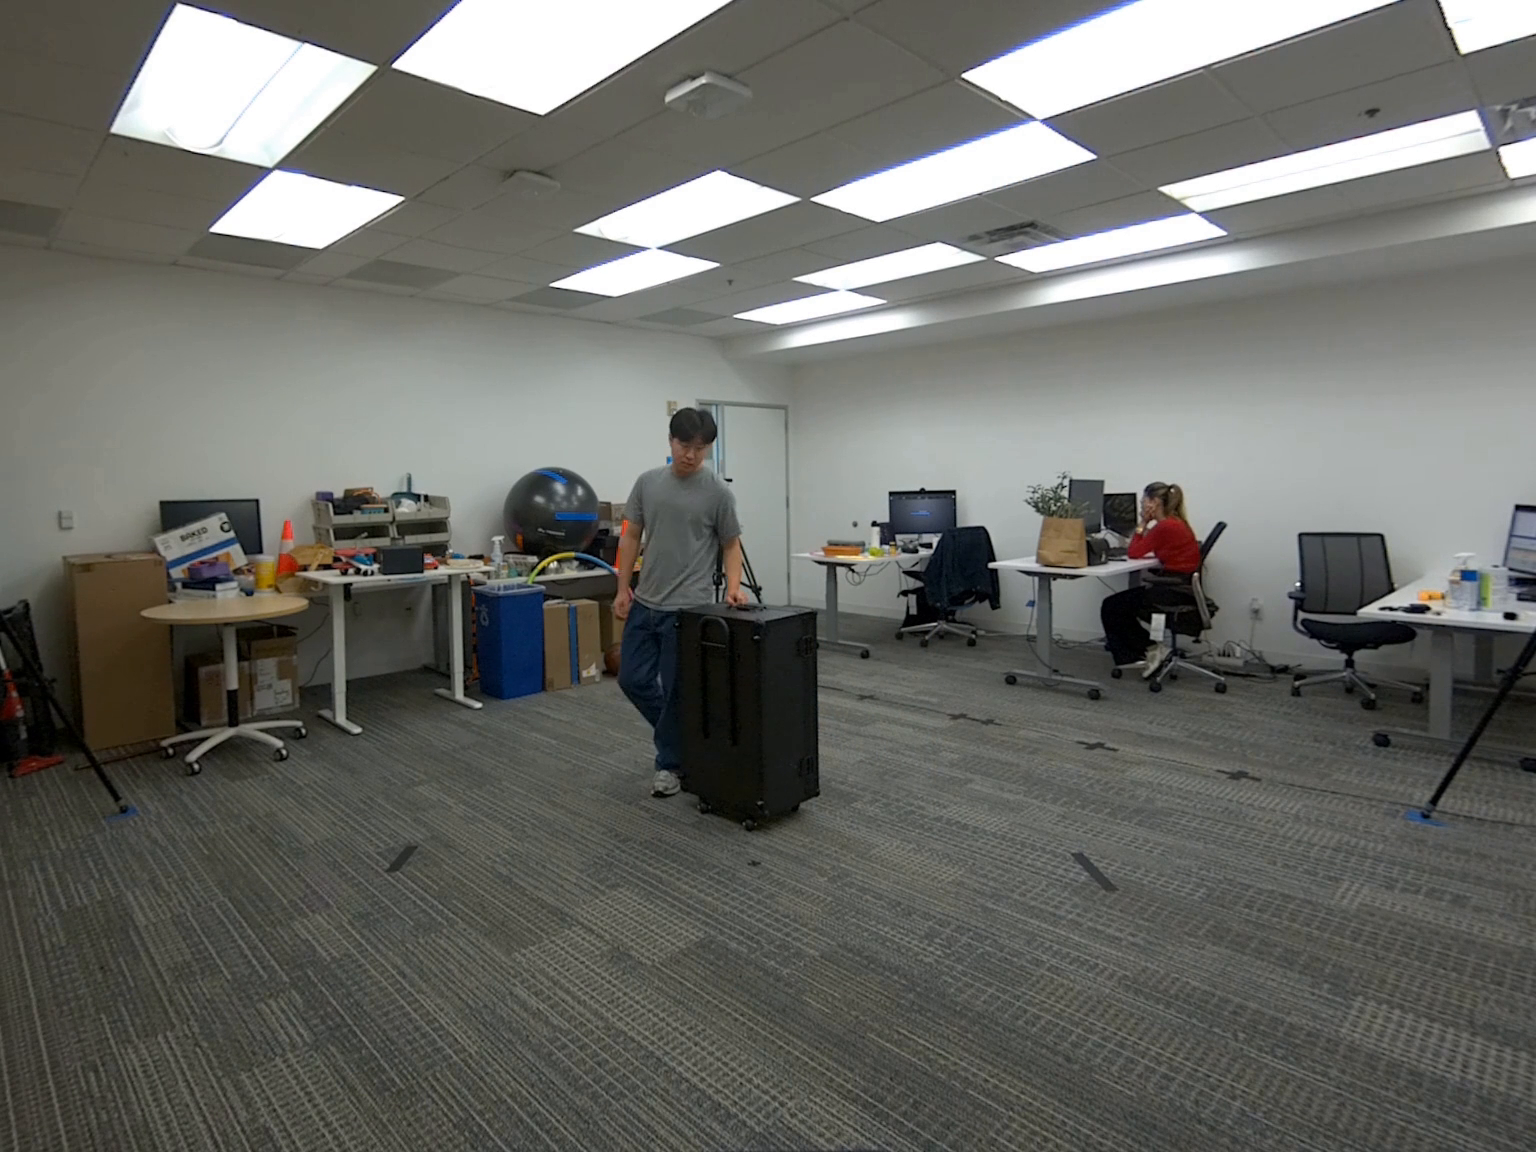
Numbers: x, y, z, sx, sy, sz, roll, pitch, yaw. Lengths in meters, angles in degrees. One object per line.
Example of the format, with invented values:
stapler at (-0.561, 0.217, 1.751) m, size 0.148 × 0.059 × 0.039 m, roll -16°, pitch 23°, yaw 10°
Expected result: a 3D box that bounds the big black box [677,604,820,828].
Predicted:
big black box at (-0.085, 0.568, 3.584) m, size 0.537 × 0.858 × 0.386 m, roll 3°, pitch 6°, yaw 43°
